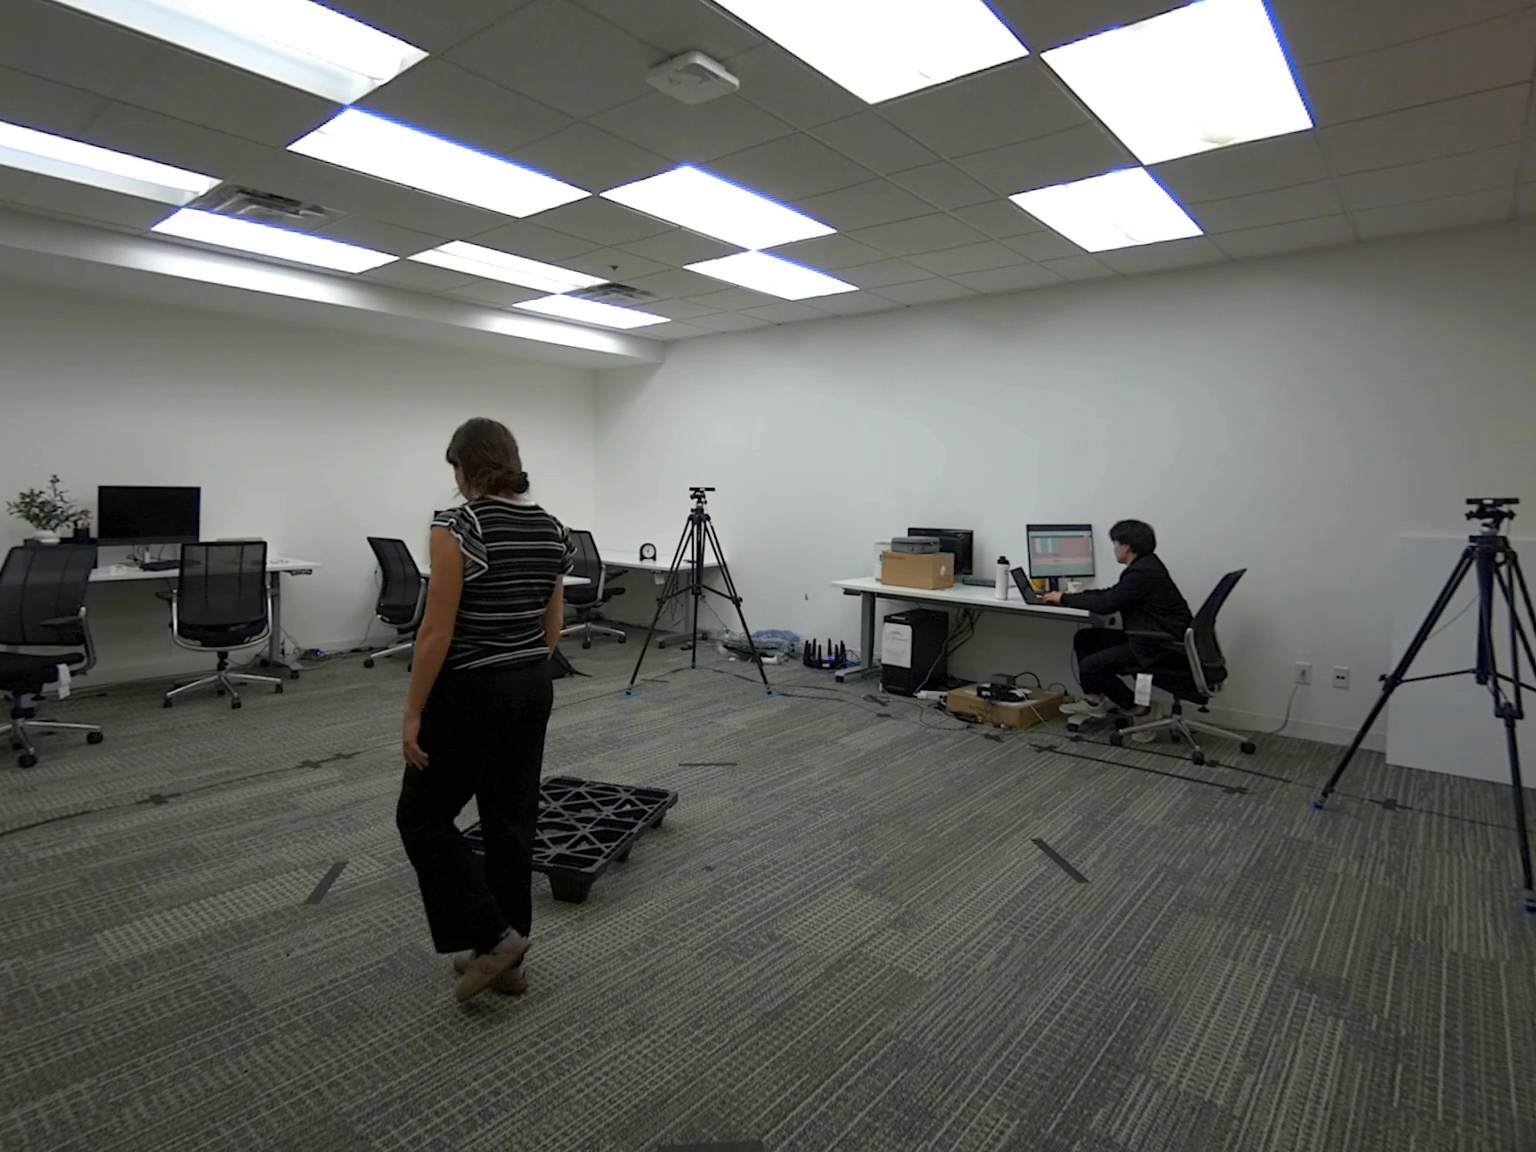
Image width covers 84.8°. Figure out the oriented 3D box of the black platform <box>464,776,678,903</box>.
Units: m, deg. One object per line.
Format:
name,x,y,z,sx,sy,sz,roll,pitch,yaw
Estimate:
black platform,-0.760,0.976,3.240,0.616,0.143,0.794,3,6,16
